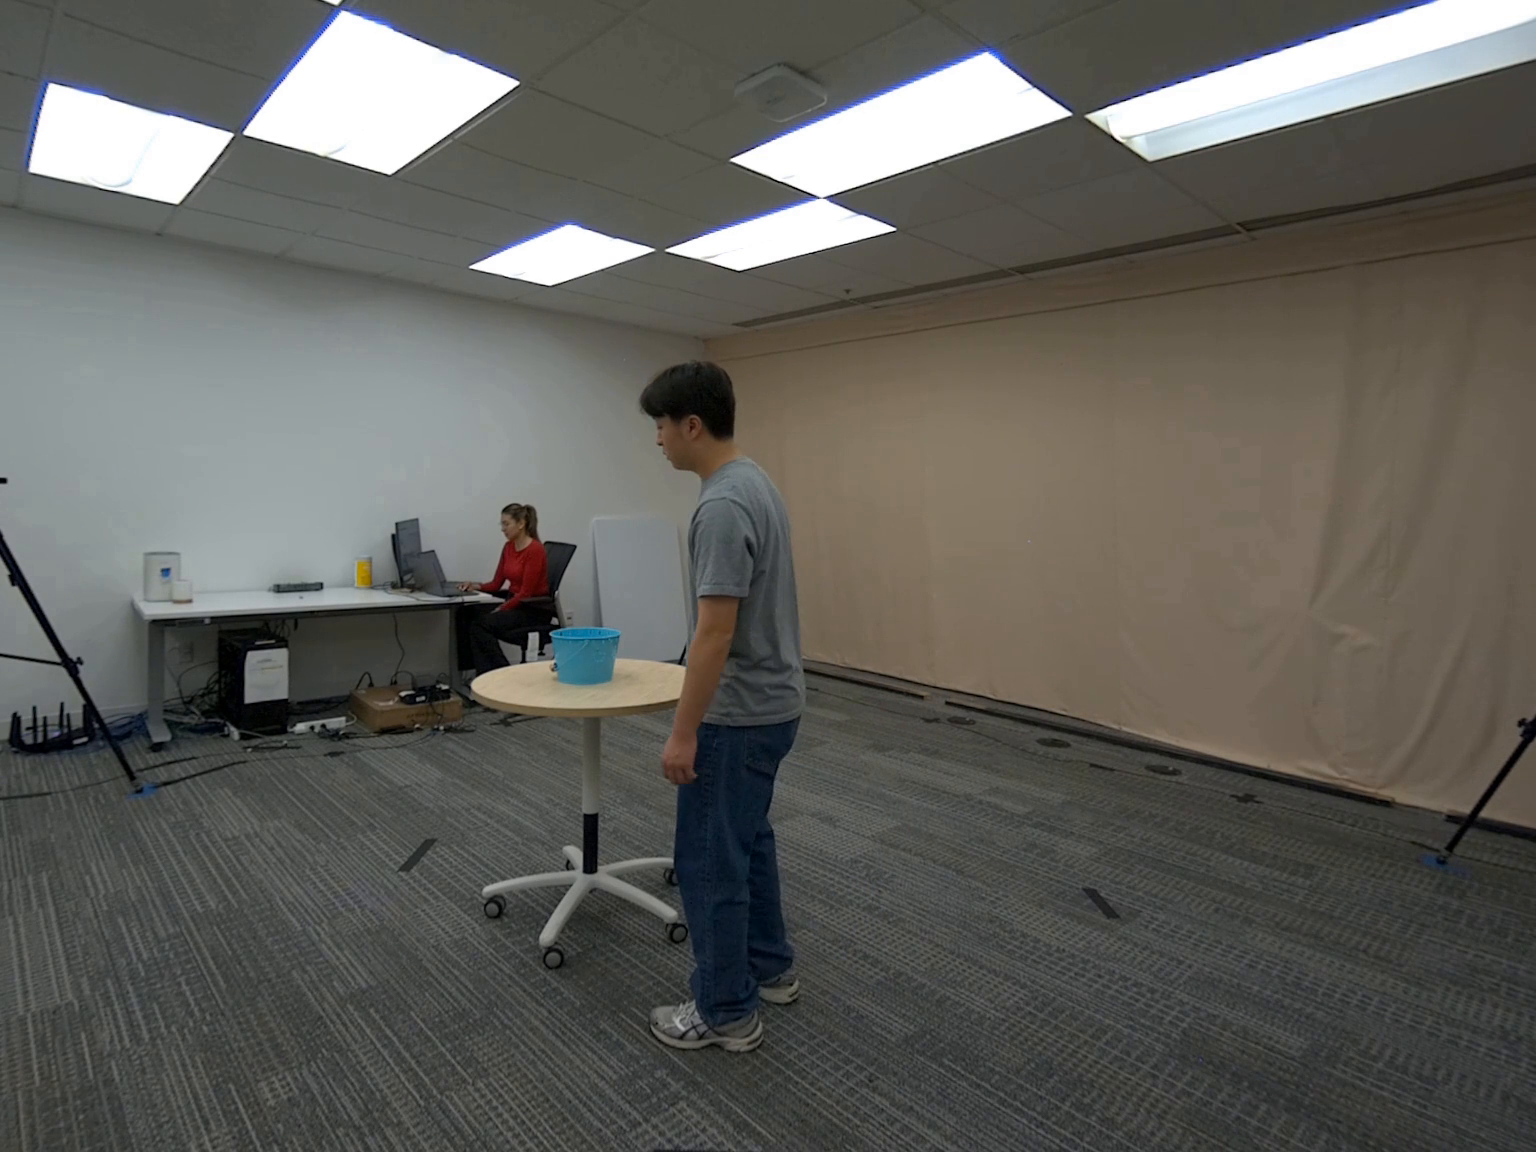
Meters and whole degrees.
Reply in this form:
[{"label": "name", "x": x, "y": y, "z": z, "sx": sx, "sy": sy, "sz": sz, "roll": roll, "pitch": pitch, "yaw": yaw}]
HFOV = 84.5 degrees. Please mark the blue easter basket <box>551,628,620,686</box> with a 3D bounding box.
[{"label": "blue easter basket", "x": -0.622, "y": 0.269, "z": 2.782, "sx": 0.243, "sy": 0.155, "sz": 0.244, "roll": 0, "pitch": 5, "yaw": -1}]
